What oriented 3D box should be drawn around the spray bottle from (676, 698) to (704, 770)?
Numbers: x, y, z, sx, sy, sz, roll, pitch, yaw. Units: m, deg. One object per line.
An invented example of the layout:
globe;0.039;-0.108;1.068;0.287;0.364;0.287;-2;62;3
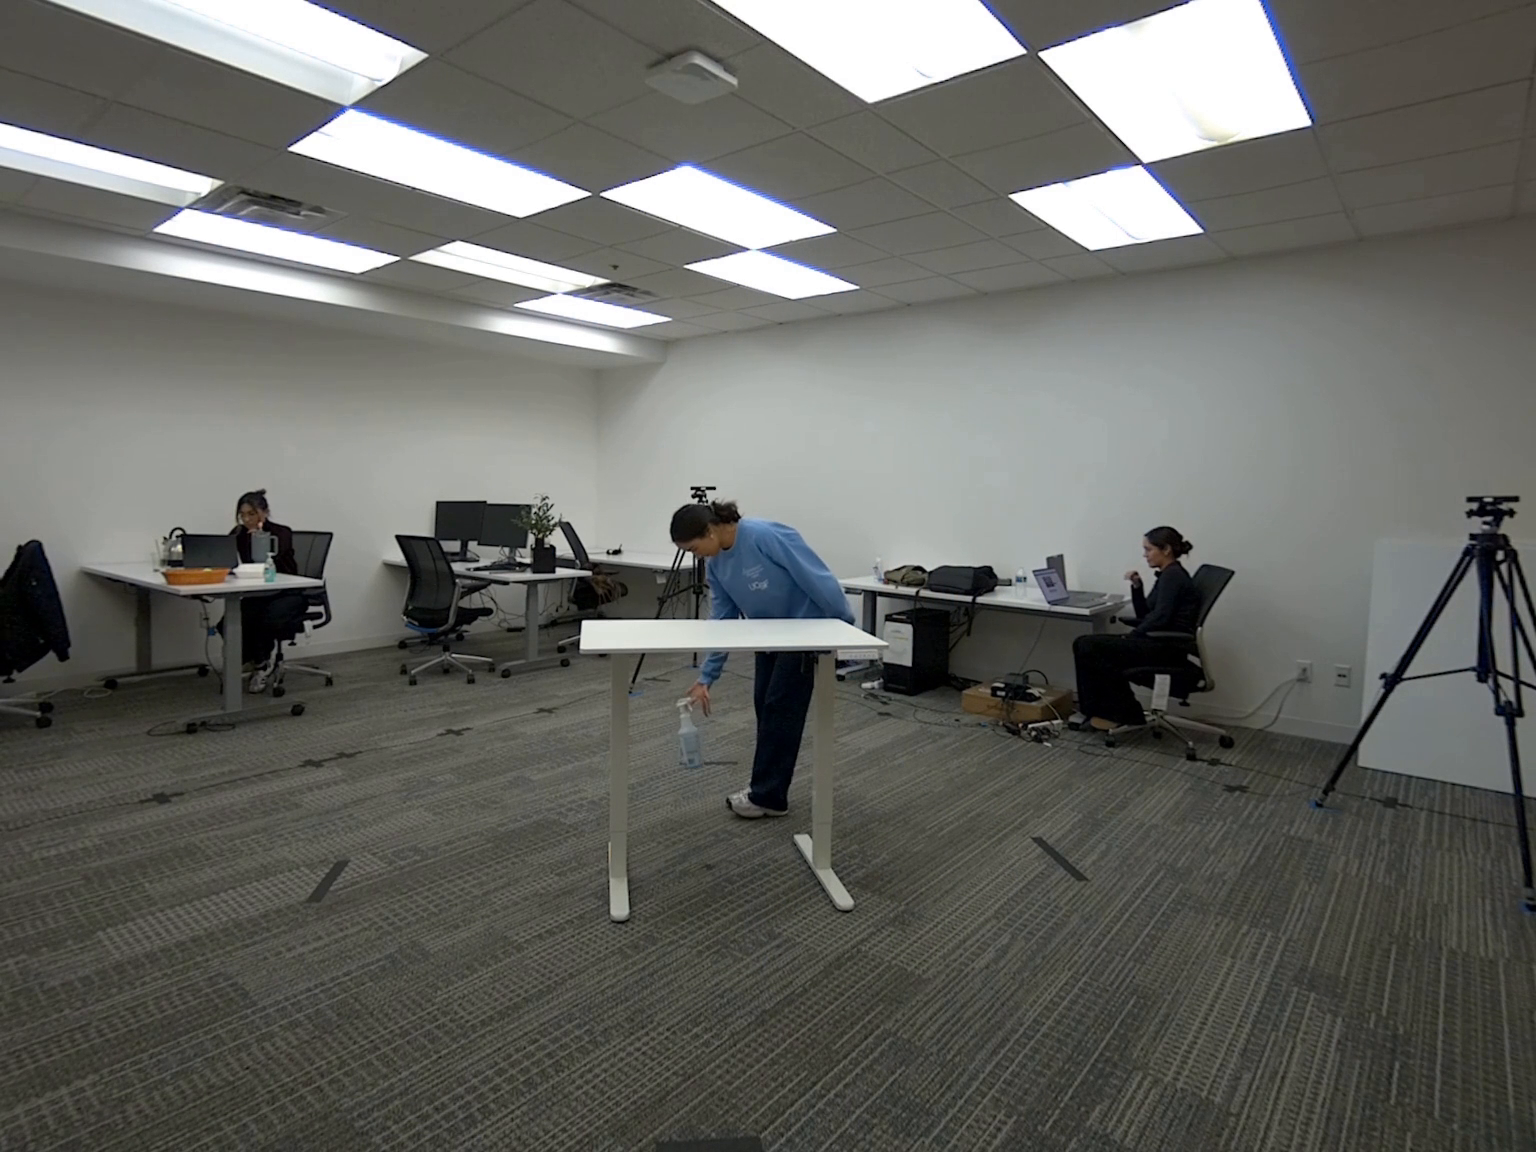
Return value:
spray bottle;-0.359;0.678;3.683;0.085;0.298;0.091;-9;-2;-22
